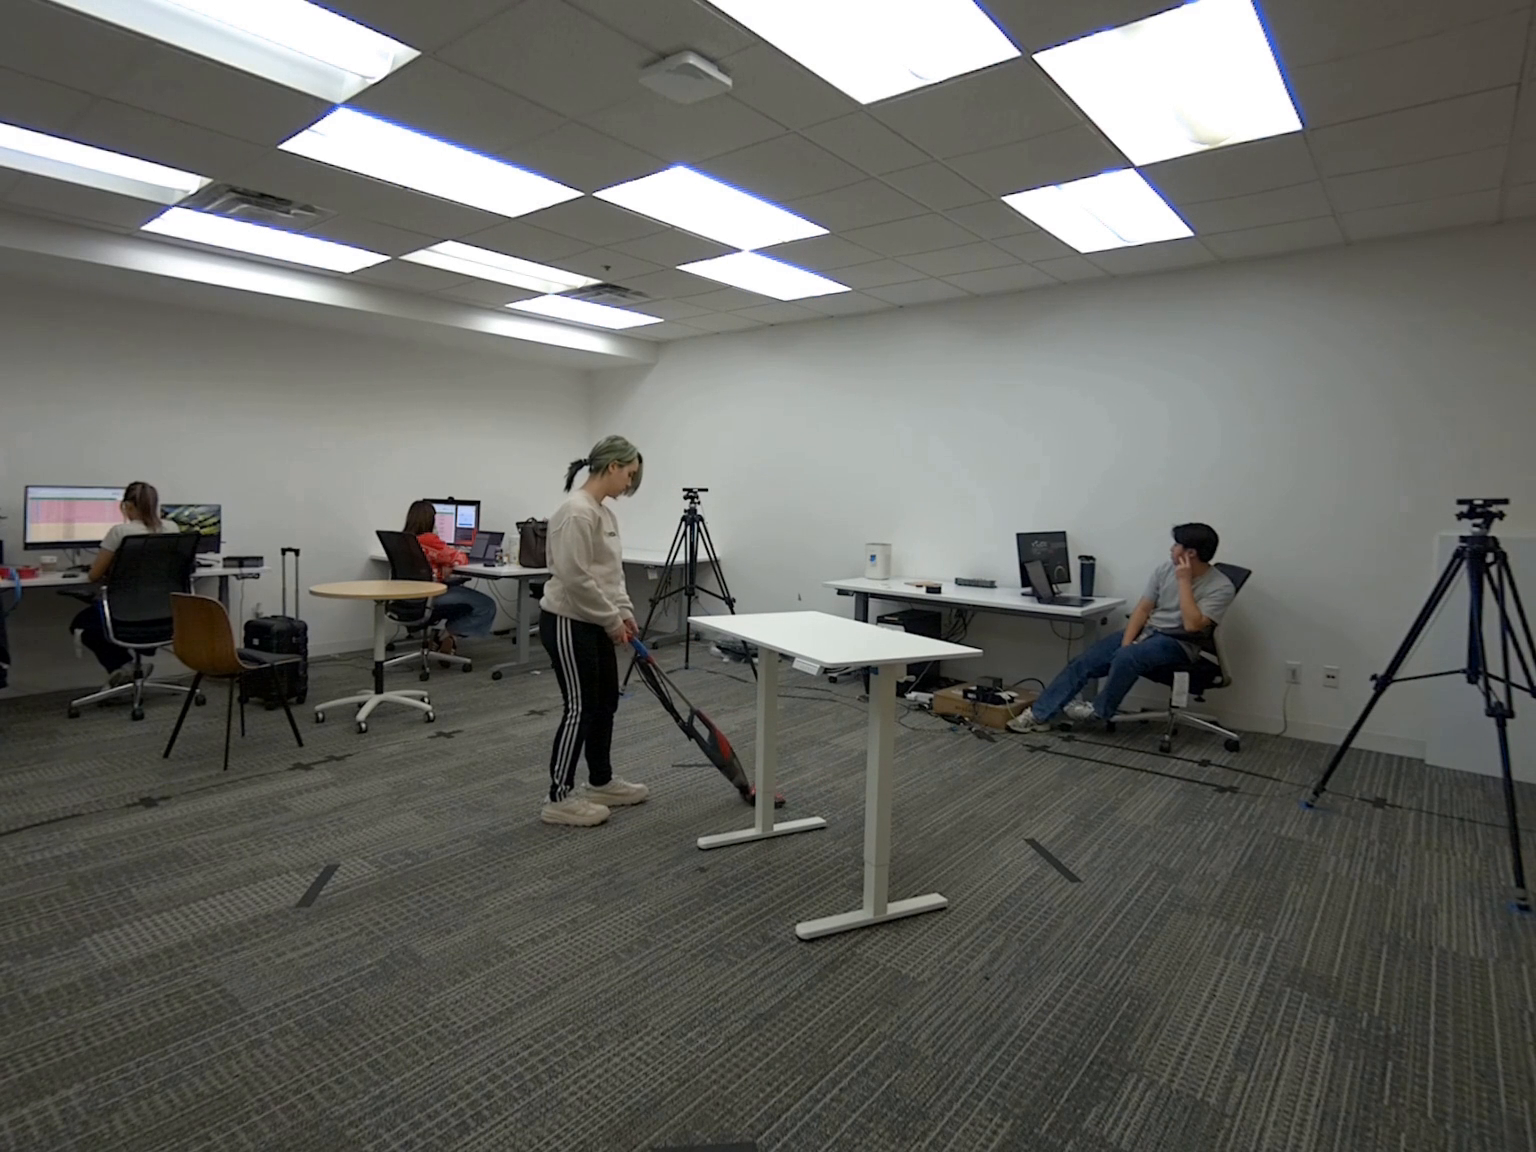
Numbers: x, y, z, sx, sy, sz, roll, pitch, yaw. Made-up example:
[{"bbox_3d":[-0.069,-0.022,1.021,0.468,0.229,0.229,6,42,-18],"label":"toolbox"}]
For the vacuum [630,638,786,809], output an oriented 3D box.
[{"bbox_3d":[-0.351,0.630,3.681,0.144,1.024,0.259,-48,19,-21],"label":"vacuum"}]
